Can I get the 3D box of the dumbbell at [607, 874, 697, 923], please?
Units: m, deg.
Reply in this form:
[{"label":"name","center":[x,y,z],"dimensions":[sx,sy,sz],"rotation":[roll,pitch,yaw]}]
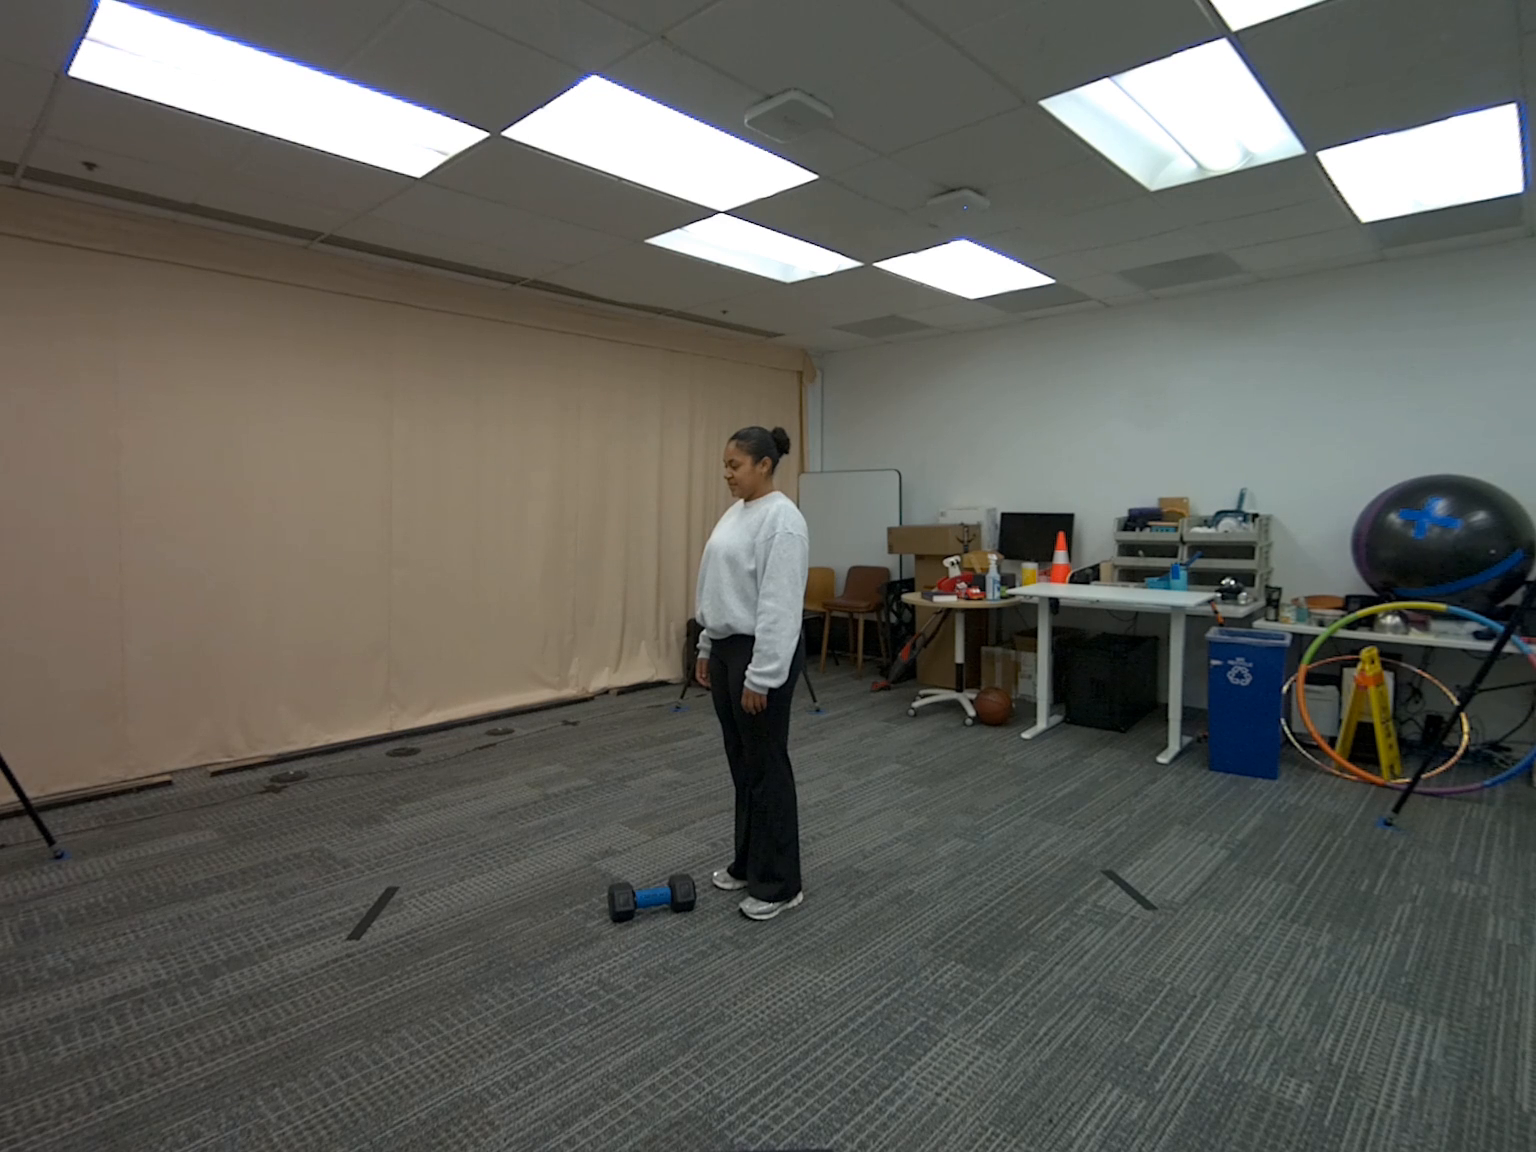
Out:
[{"label":"dumbbell","center":[-0.397,1.110,2.879],"dimensions":[0.289,0.125,0.108],"rotation":[-1,-24,-15]}]
